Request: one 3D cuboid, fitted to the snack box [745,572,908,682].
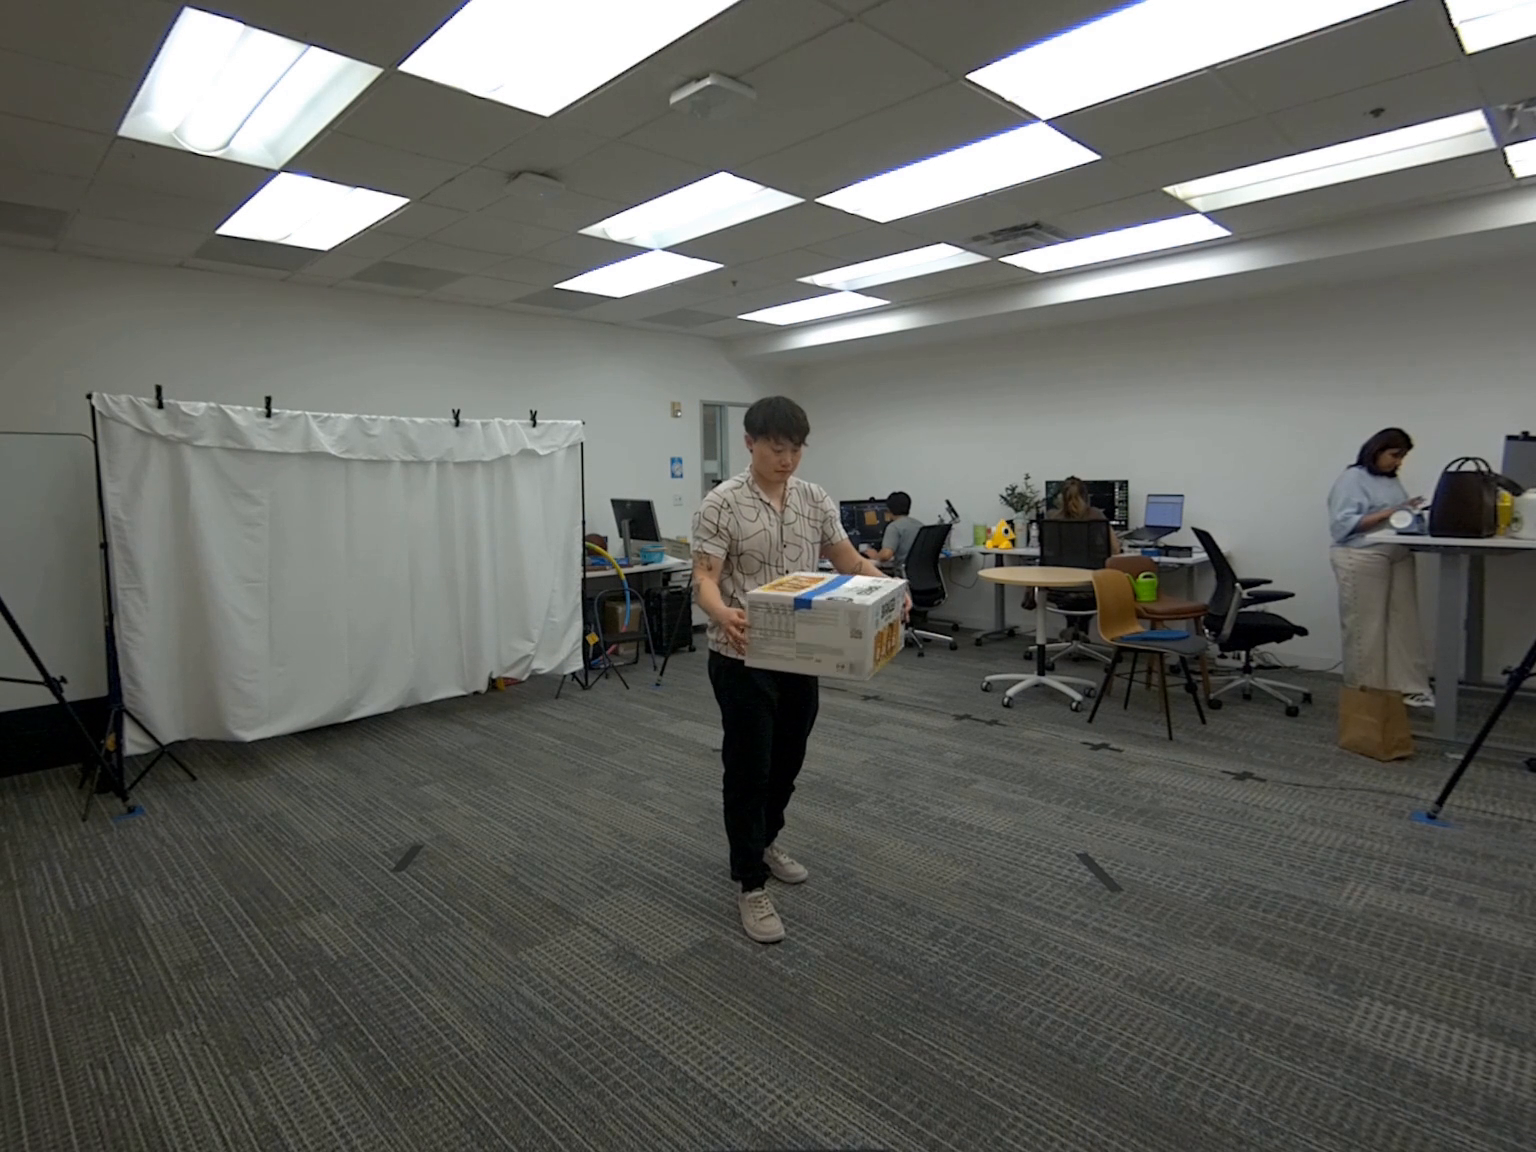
[{"bbox_3d":[0.174,0.130,2.384,0.348,0.204,0.398,3,9,24],"label":"snack box"}]
